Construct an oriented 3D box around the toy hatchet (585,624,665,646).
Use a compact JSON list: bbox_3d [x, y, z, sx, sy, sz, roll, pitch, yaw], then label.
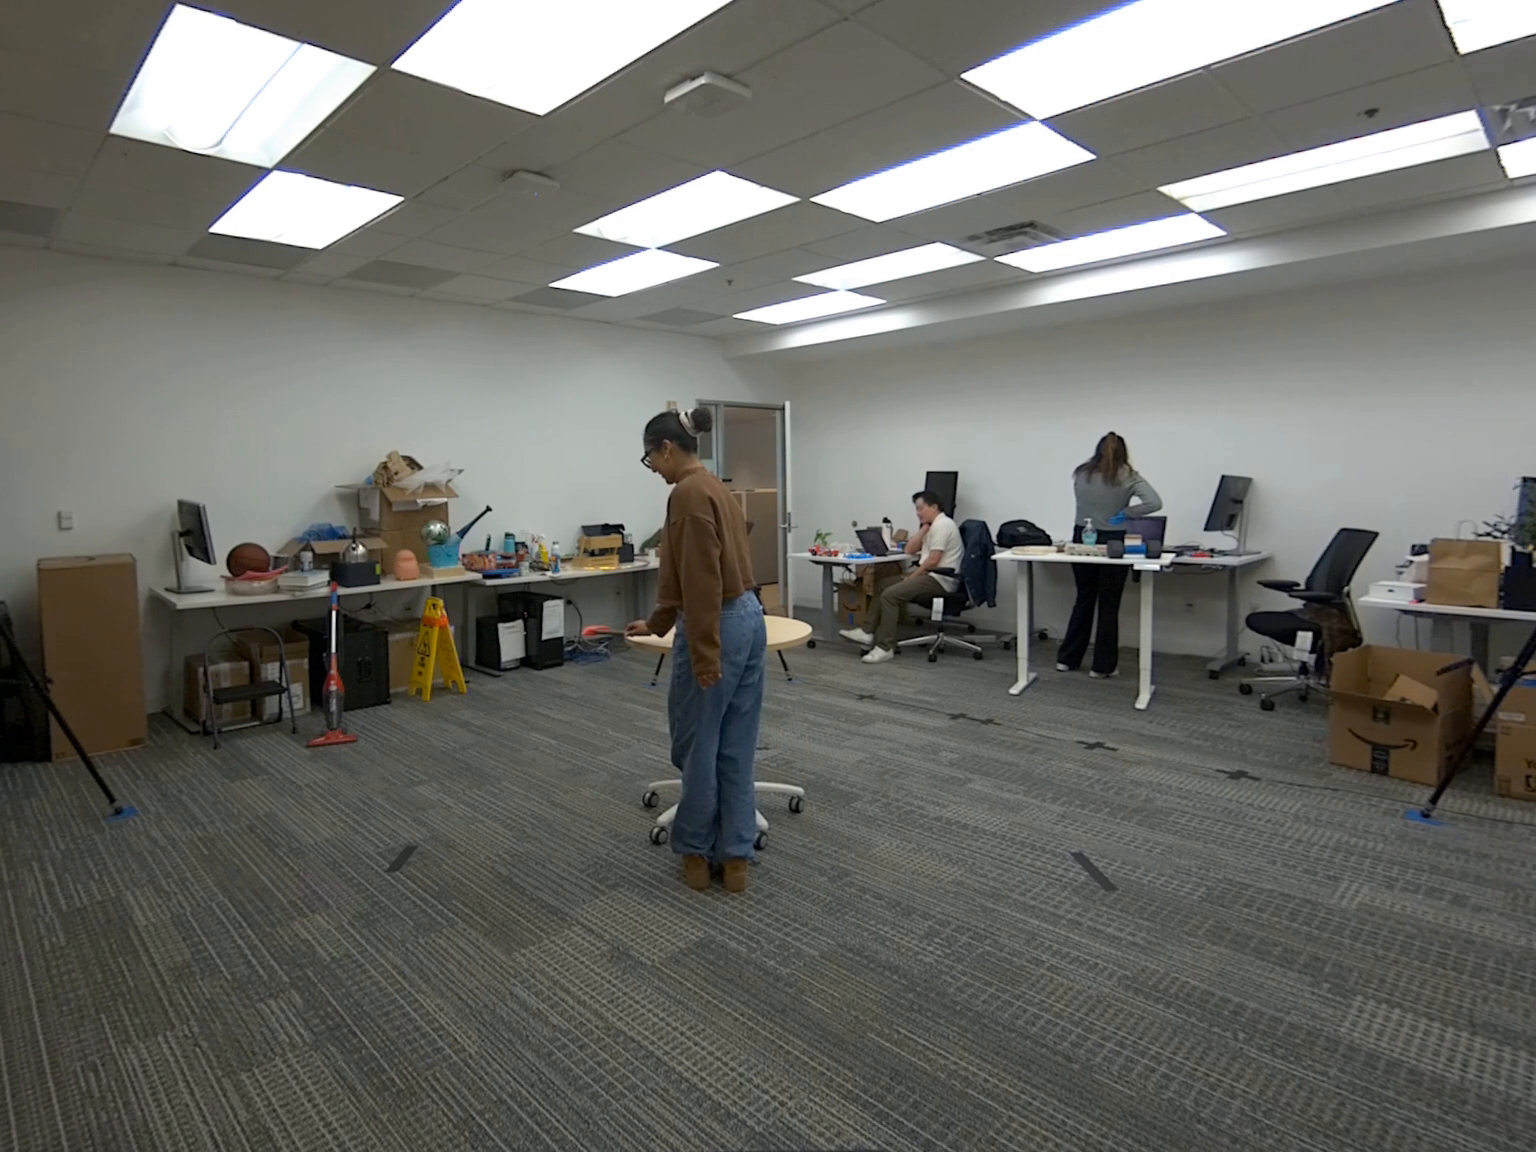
[{"bbox_3d":[-0.544,0.219,3.254,0.276,0.029,0.129,3,11,24],"label":"toy hatchet"}]
